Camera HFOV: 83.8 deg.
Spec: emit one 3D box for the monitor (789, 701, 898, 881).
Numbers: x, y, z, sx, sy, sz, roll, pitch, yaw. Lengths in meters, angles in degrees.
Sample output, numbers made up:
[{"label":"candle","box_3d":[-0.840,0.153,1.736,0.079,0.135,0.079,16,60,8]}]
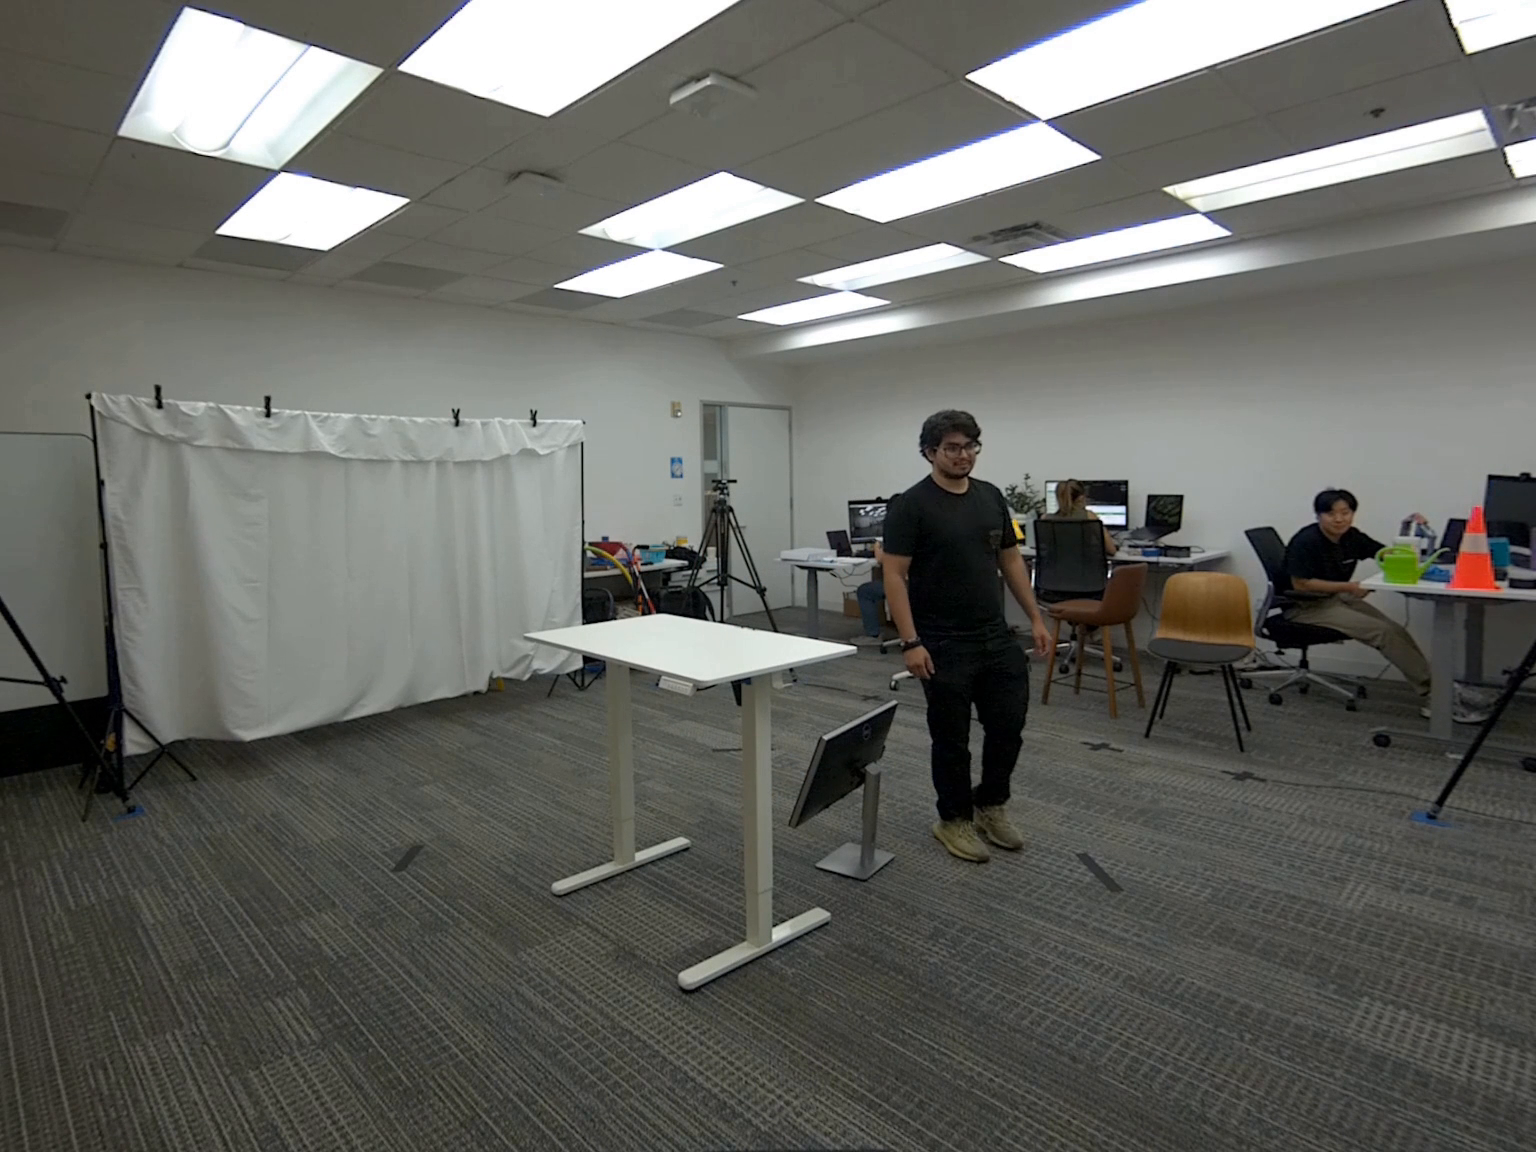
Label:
[{"label":"monitor","box_3d":[0.342,0.779,3.071,0.217,0.549,0.552,14,13,33]}]
